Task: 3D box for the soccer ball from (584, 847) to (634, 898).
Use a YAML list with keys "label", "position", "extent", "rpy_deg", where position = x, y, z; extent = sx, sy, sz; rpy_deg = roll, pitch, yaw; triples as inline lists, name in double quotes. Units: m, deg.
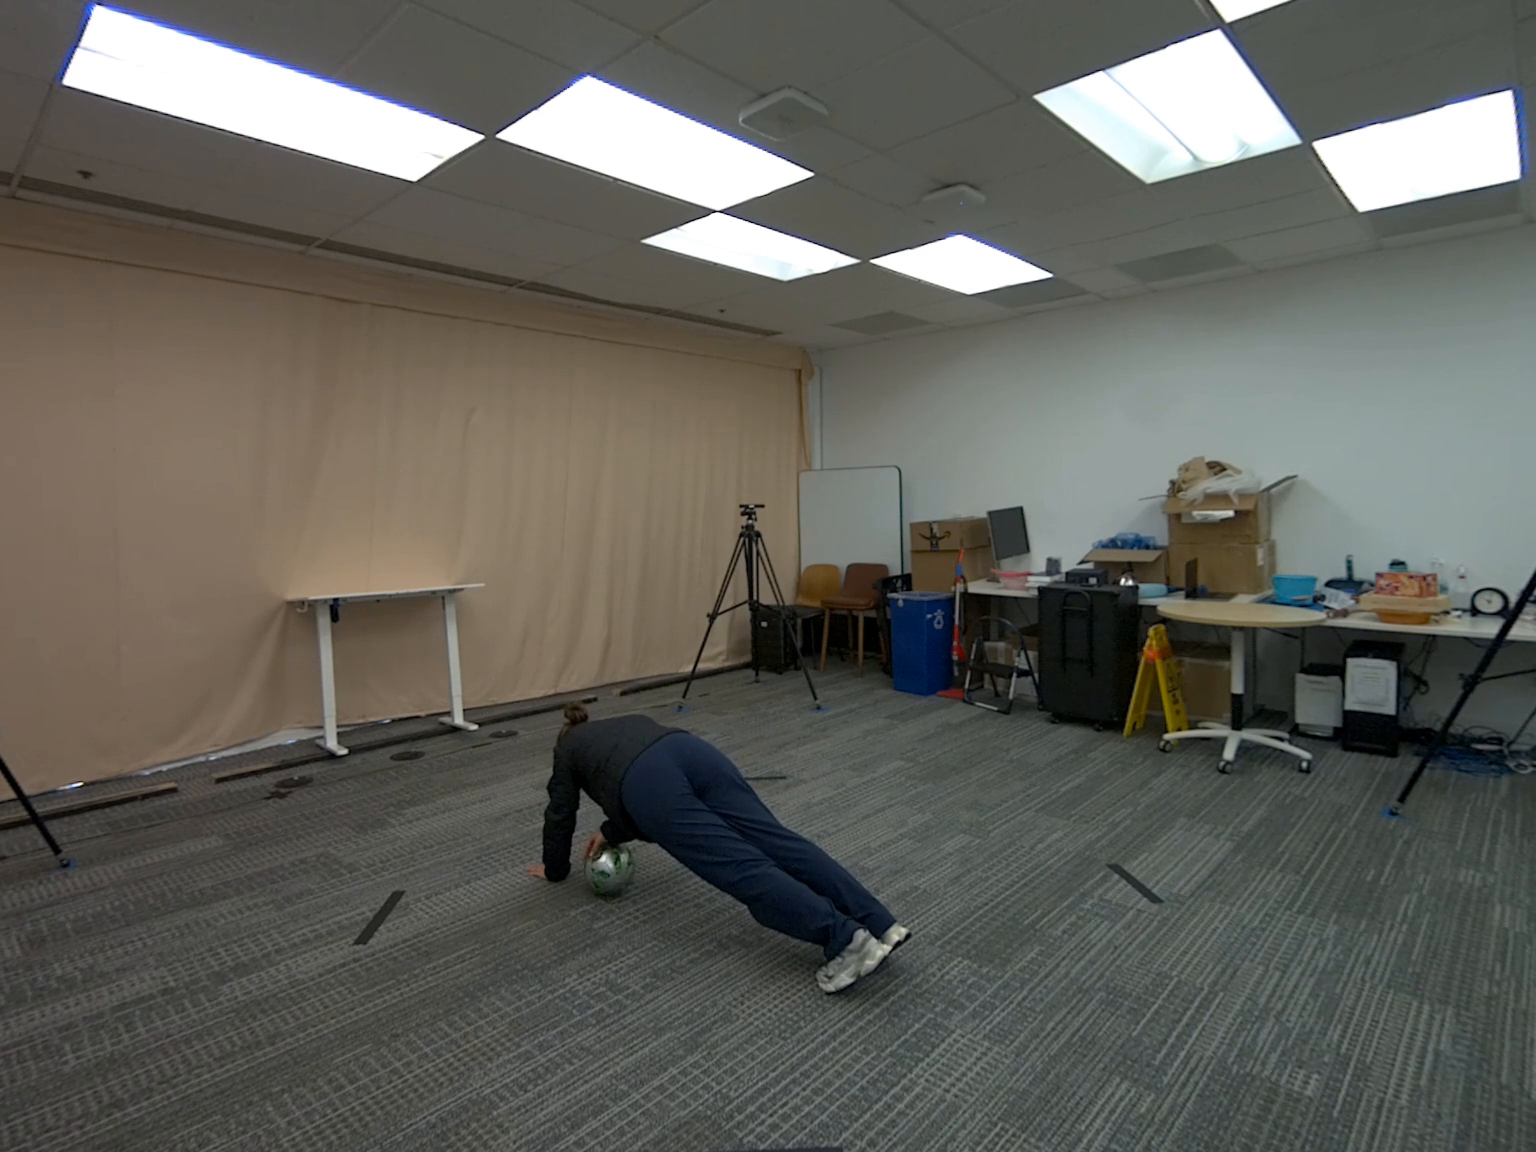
- label: "soccer ball"
  position: [-0.568, 1.058, 3.042]
  extent: [0.187, 0.187, 0.188]
  rpy_deg: [-1, 4, -2]
